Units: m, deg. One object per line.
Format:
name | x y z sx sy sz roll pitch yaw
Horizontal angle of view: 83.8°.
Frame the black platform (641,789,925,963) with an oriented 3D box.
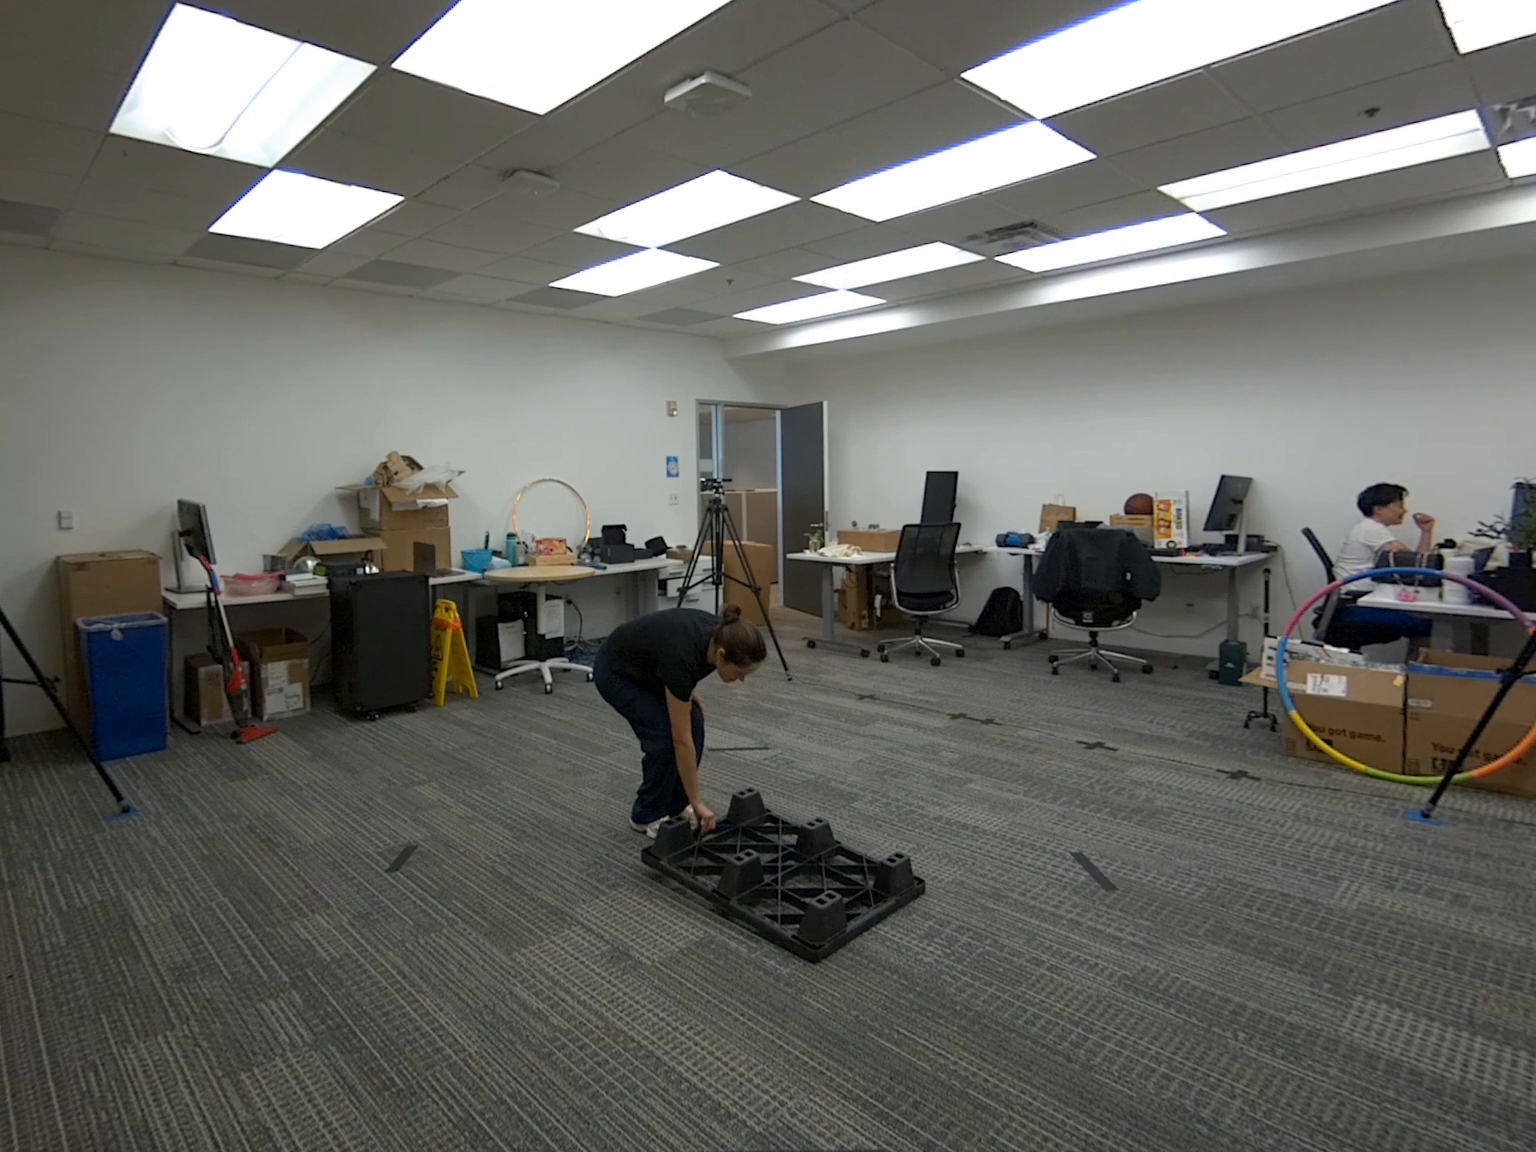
black platform | 0.047 0.964 2.944 0.832 0.142 0.590 11 13 42
